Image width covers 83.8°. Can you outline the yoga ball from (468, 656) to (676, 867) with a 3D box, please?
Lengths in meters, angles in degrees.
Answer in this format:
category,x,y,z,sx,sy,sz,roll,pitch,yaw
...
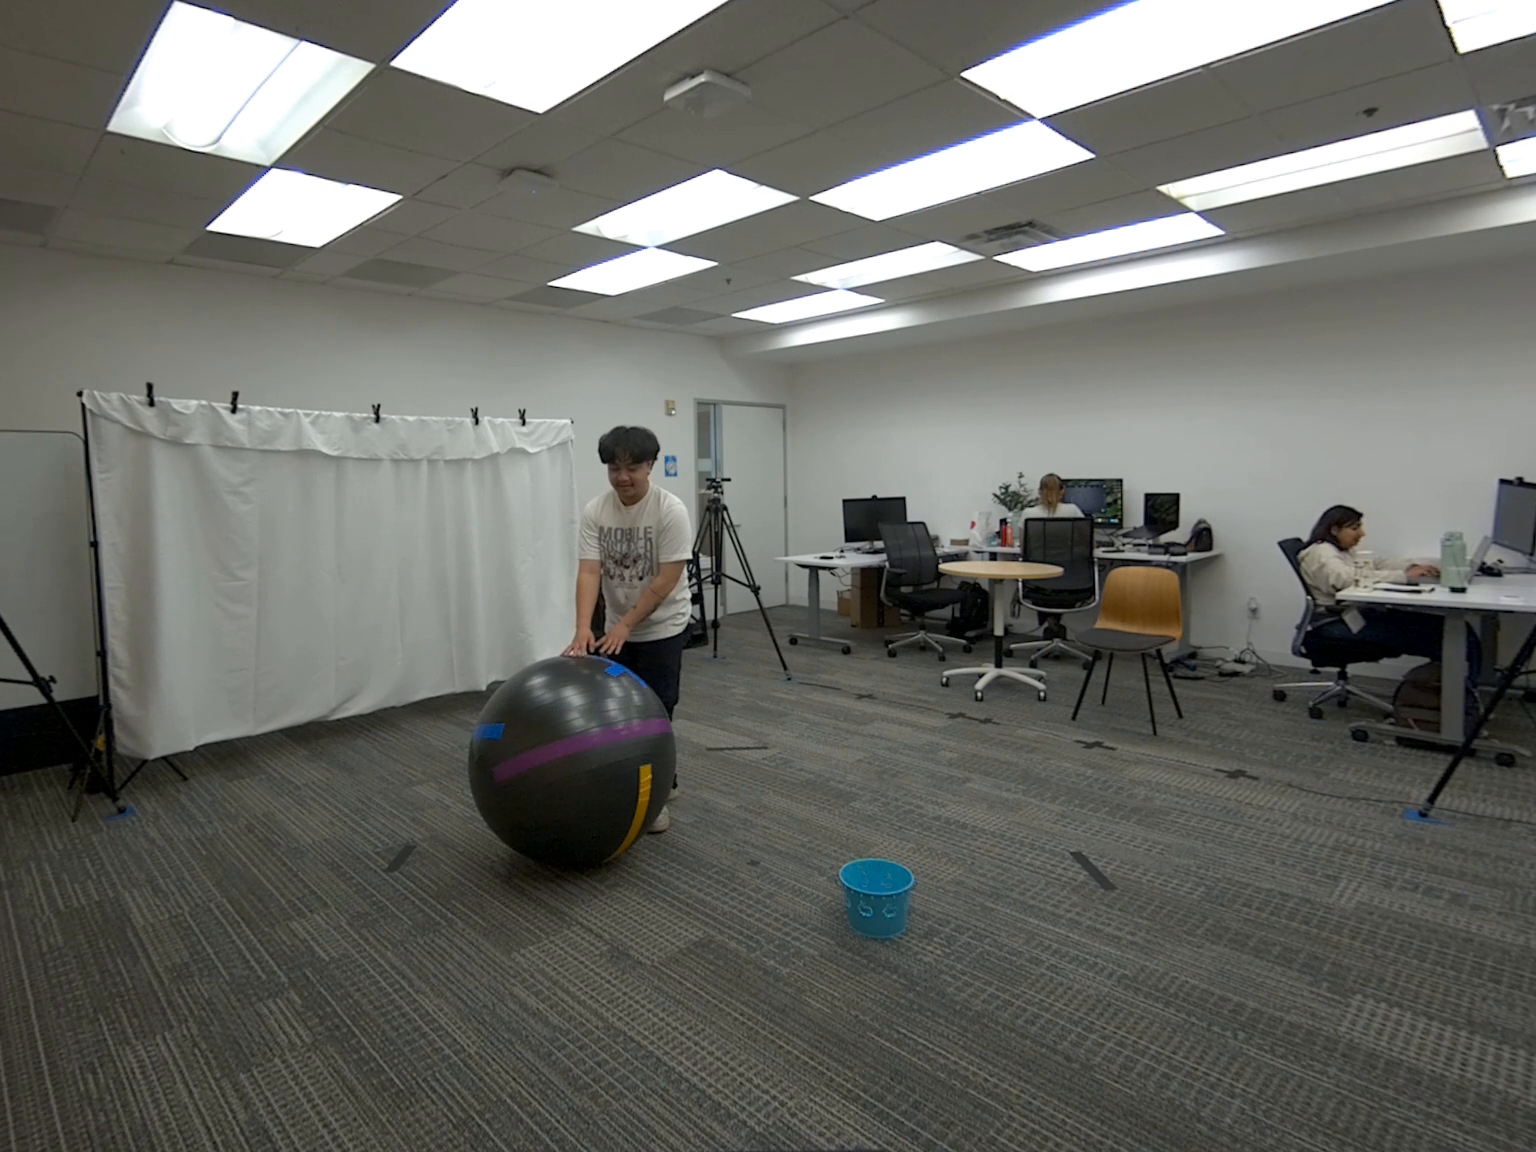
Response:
category,x,y,z,sx,sy,sz,roll,pitch,yaw
yoga ball,-0.731,0.685,3.162,0.757,0.755,0.762,-1,5,-2
